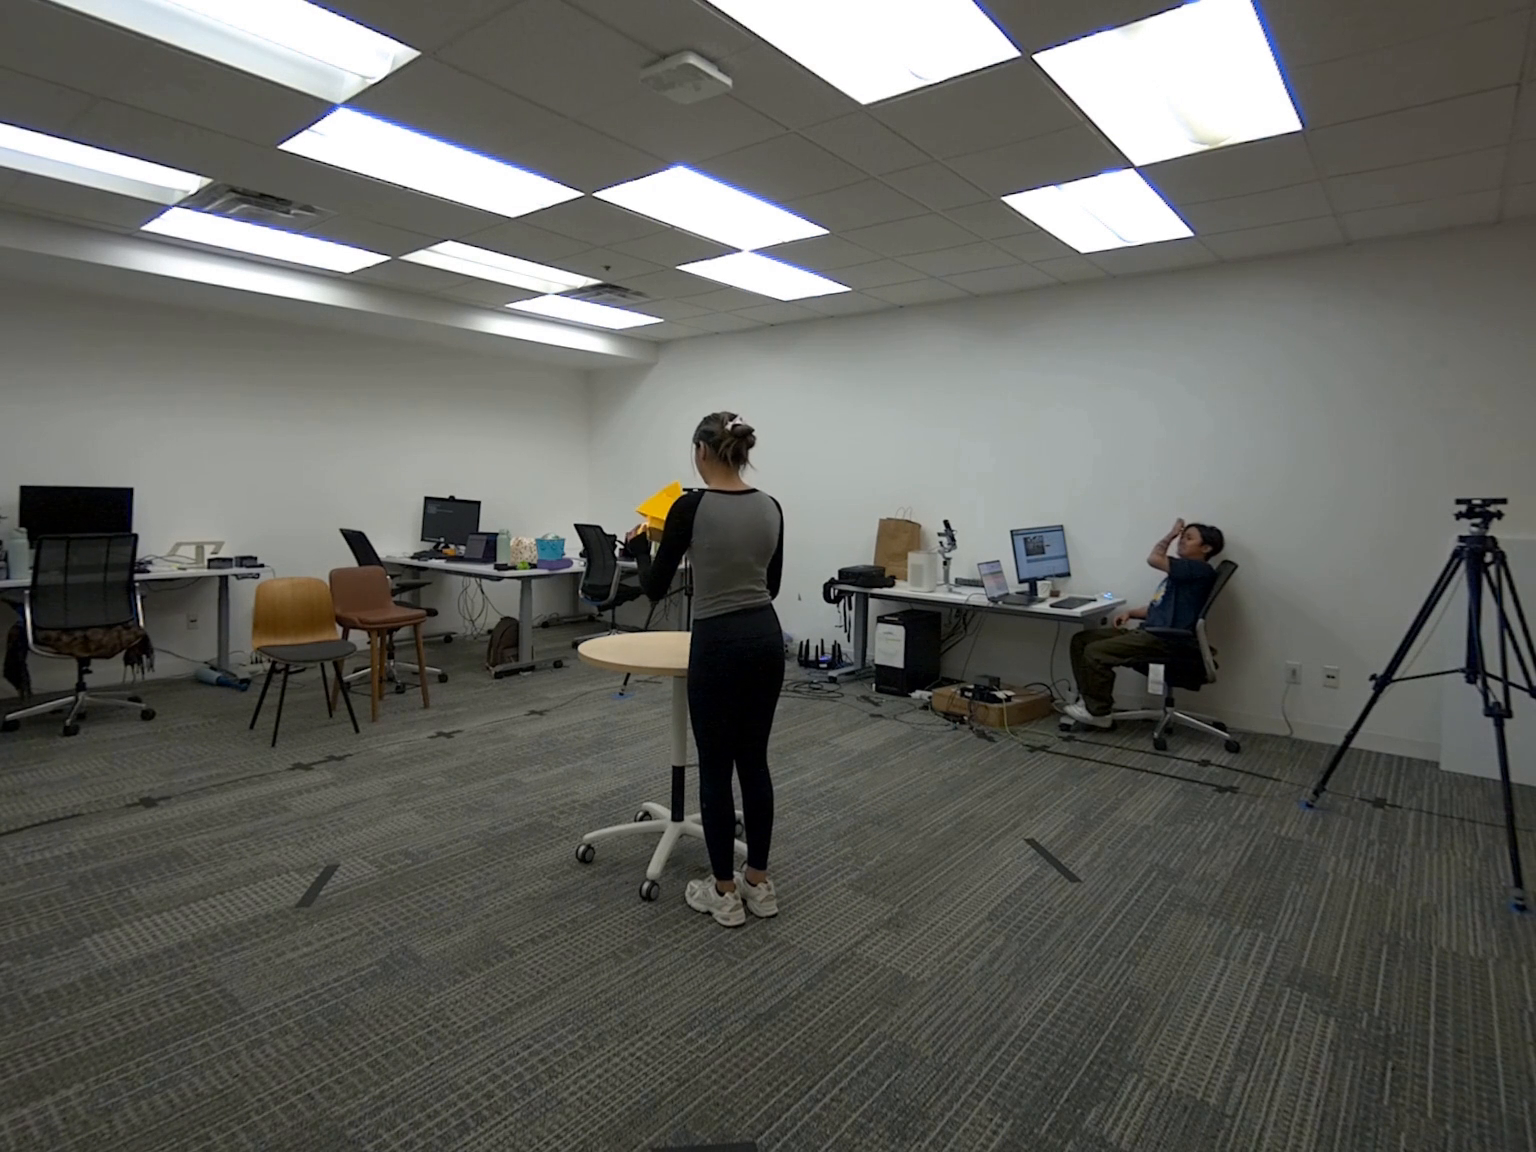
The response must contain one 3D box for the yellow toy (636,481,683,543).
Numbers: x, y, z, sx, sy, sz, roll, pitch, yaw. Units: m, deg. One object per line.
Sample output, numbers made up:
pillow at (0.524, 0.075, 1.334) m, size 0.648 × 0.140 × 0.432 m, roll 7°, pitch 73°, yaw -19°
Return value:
yellow toy at (-0.352, -0.219, 3.021) m, size 0.210 × 0.231 × 0.188 m, roll 19°, pitch -3°, yaw 18°
